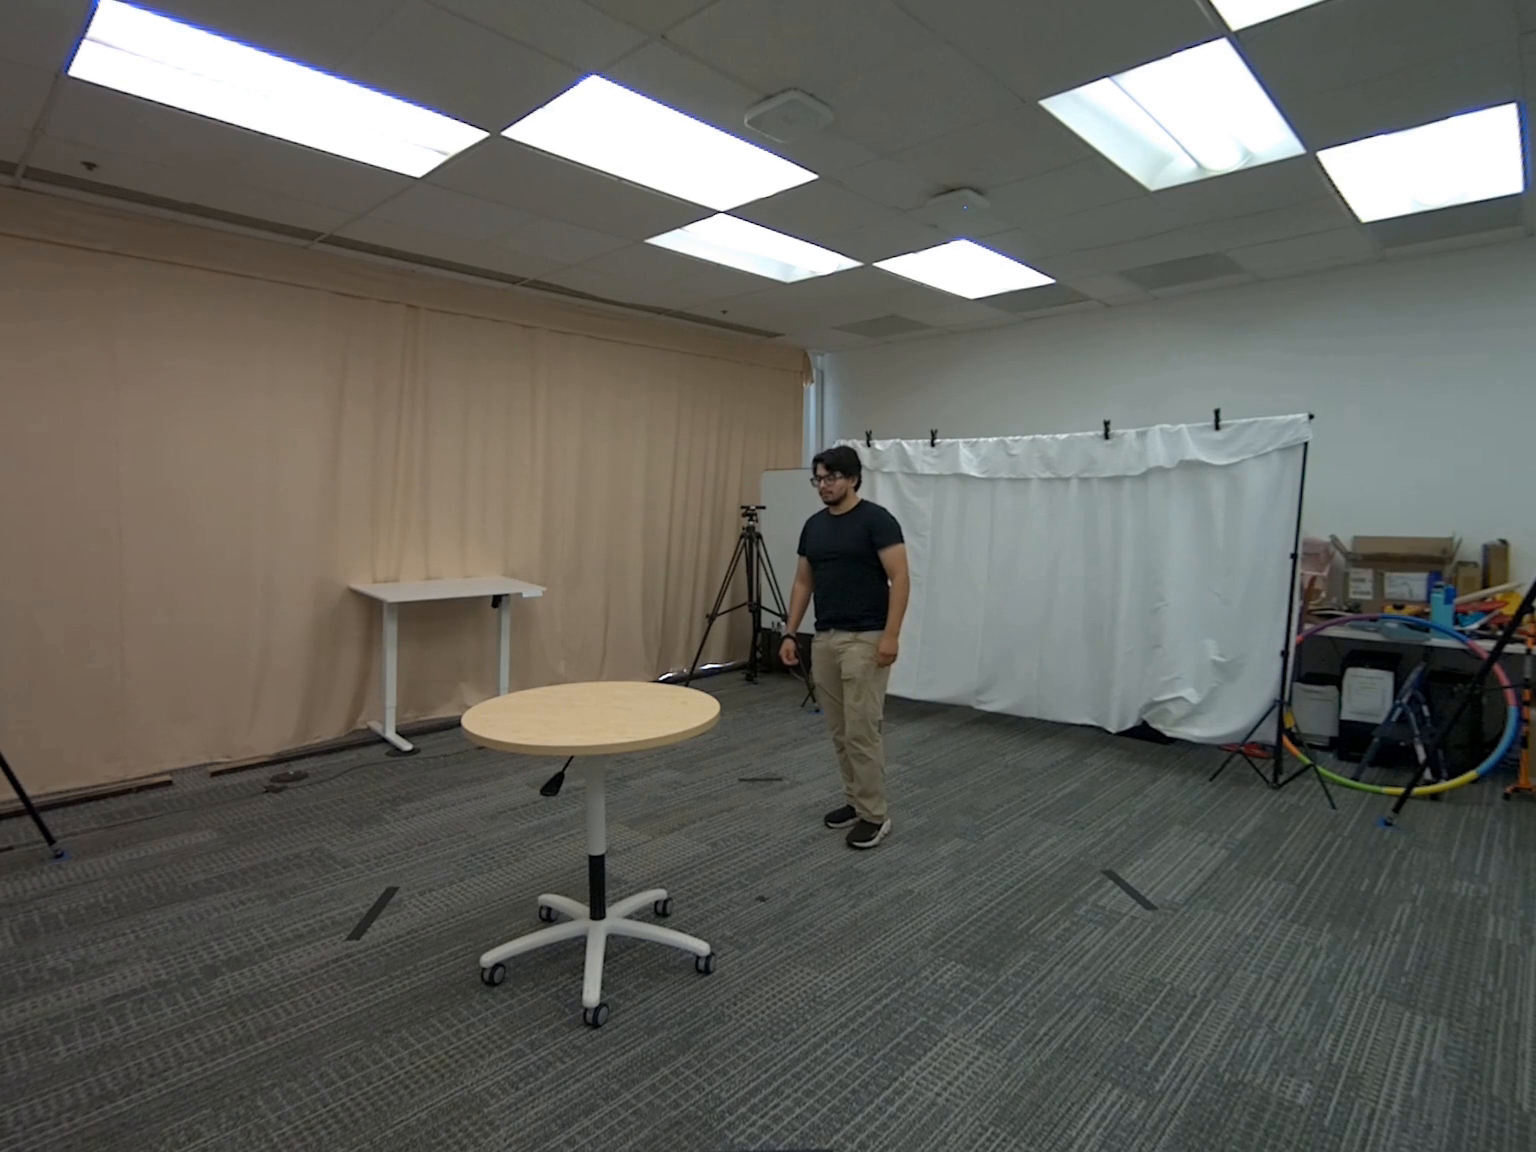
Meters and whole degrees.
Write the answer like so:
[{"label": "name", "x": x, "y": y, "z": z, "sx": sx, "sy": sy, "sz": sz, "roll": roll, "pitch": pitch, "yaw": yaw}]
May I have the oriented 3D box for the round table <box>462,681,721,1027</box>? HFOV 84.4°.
[{"label": "round table", "x": -0.499, "y": 0.790, "z": 2.553, "sx": 0.784, "sy": 0.785, "sz": 0.788, "roll": -1, "pitch": 4, "yaw": -2}]
